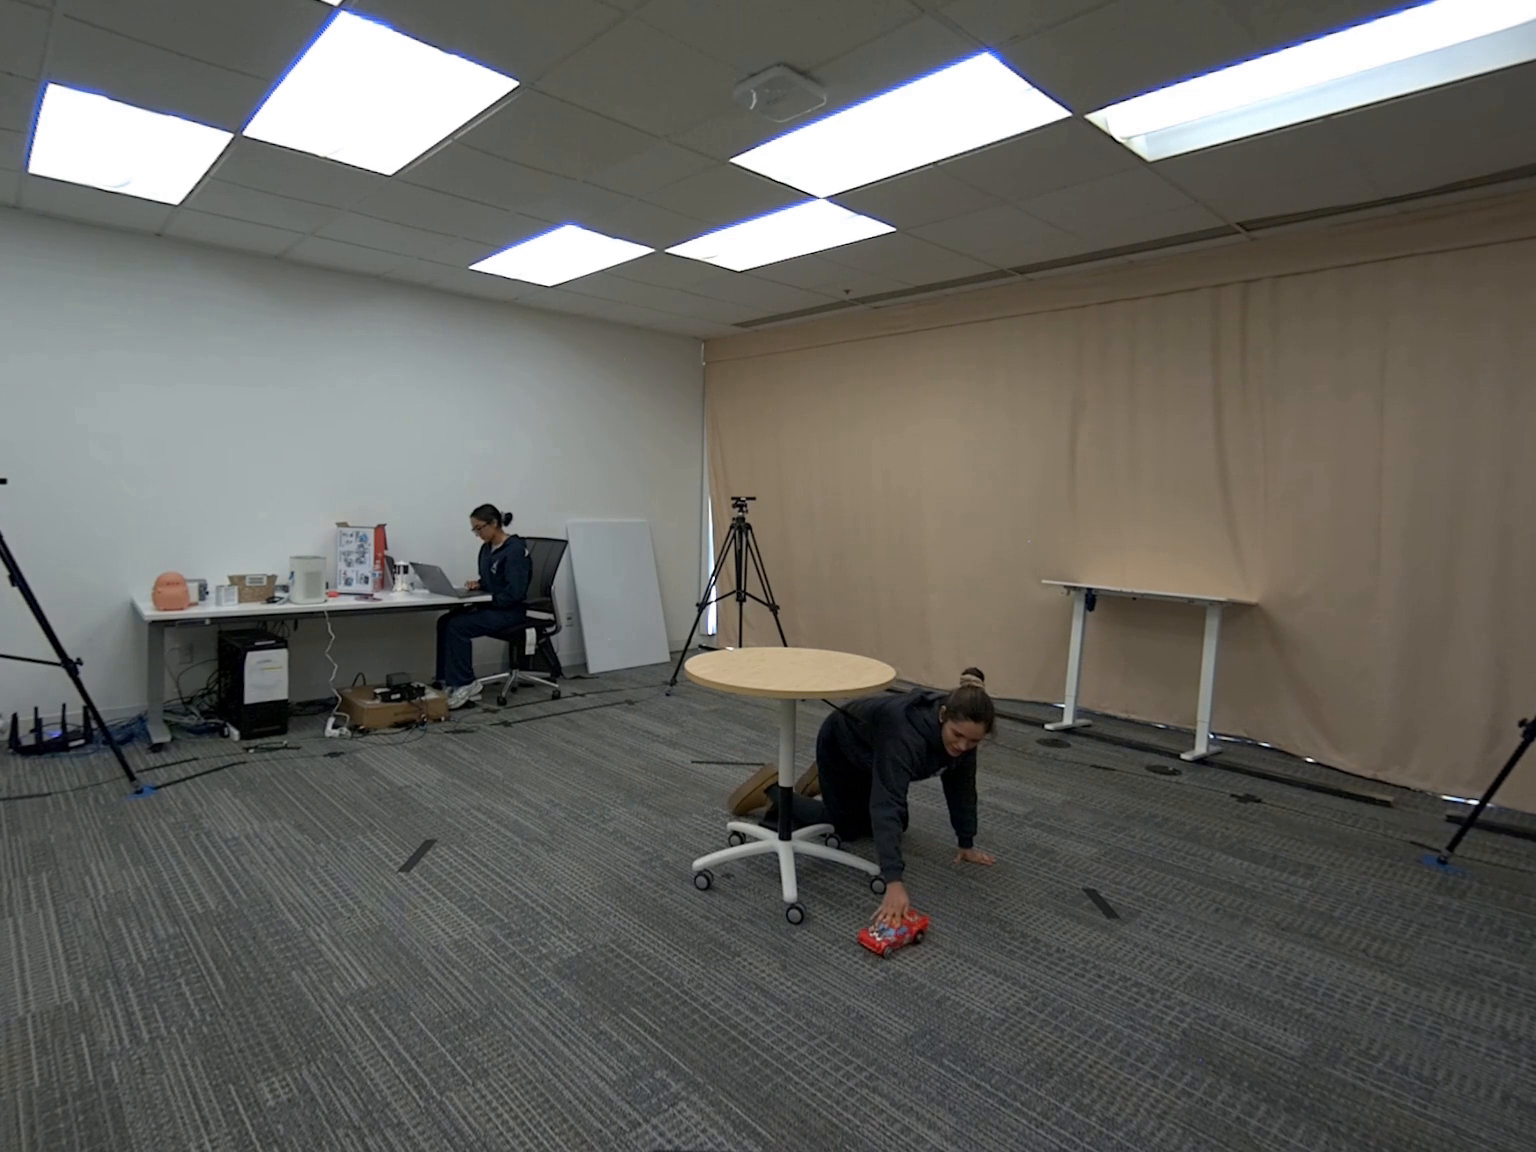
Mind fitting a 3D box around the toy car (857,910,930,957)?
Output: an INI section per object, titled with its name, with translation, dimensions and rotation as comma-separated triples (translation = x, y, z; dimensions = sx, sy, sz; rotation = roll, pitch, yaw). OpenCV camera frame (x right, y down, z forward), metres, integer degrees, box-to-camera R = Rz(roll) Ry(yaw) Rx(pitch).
[toy car]
translation = 0.395, 1.128, 2.683
dimensions = 0.250, 0.082, 0.134
rotation = -17, 16, -37
